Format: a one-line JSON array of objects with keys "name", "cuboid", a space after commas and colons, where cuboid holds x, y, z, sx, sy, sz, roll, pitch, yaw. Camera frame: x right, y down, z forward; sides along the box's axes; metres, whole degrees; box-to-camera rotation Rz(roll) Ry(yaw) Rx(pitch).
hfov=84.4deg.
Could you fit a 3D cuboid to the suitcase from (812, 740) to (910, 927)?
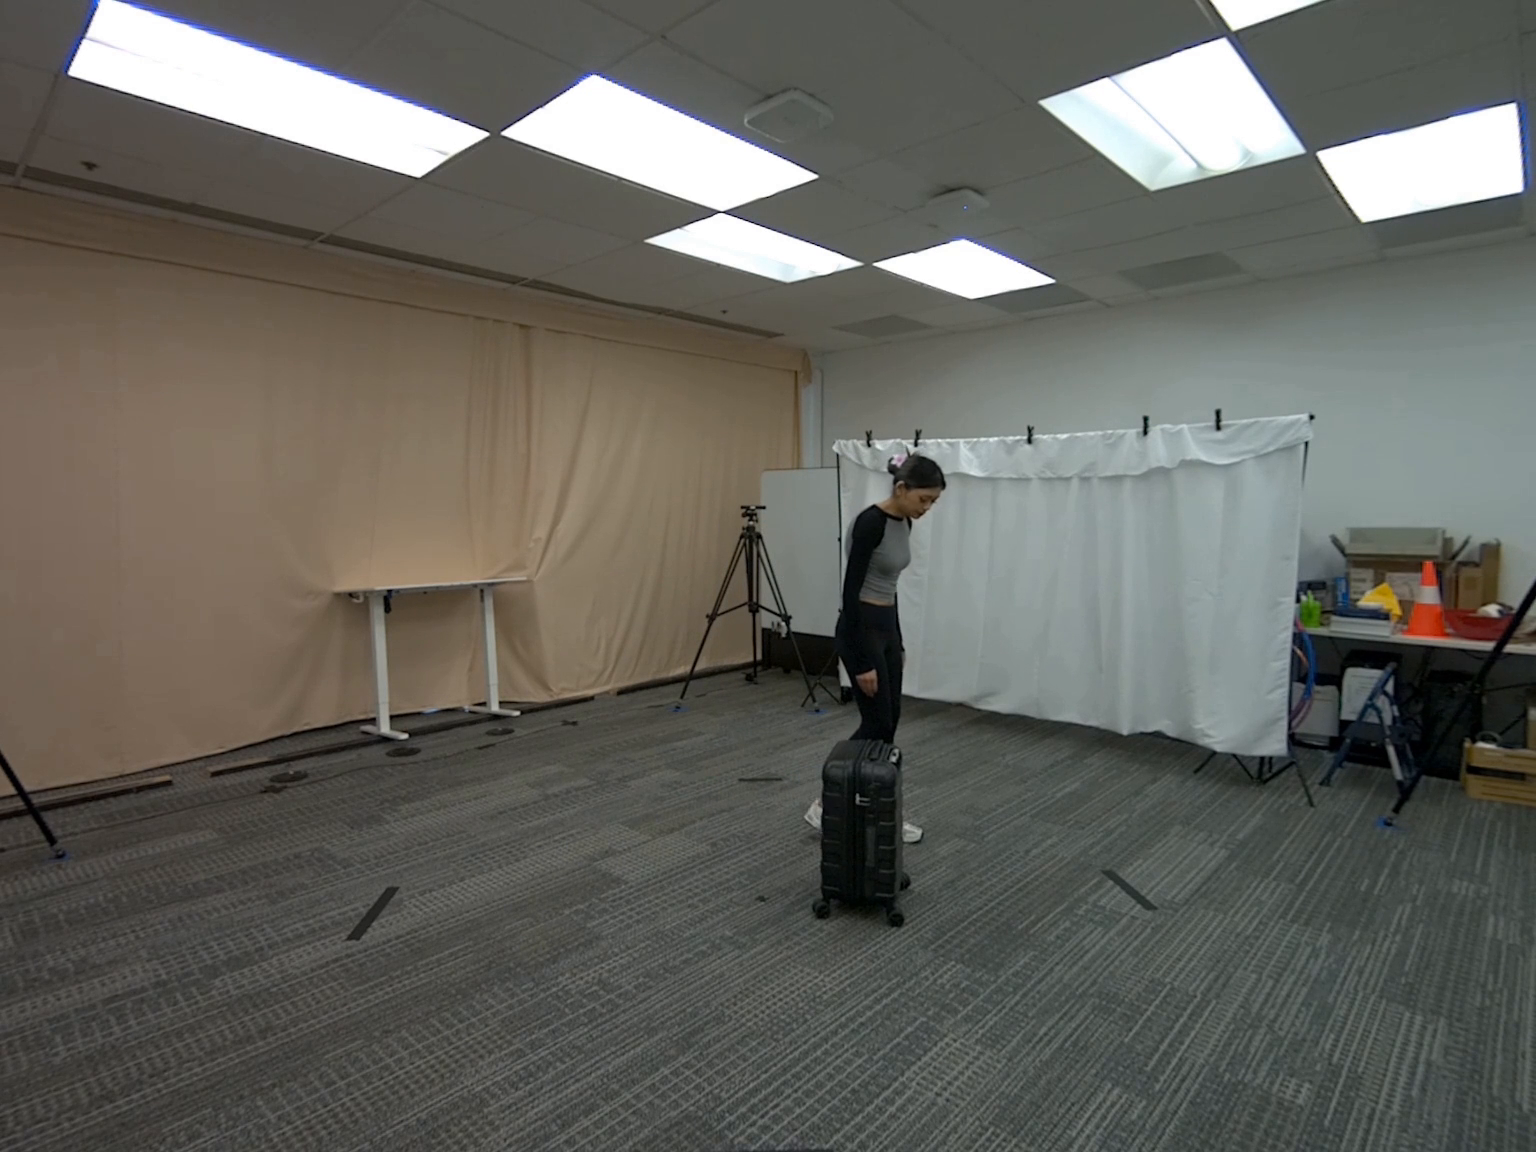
[{"name": "suitcase", "cuboid": [0.338, 0.870, 2.951, 0.253, 0.548, 0.369, 0, 4, 16]}]
